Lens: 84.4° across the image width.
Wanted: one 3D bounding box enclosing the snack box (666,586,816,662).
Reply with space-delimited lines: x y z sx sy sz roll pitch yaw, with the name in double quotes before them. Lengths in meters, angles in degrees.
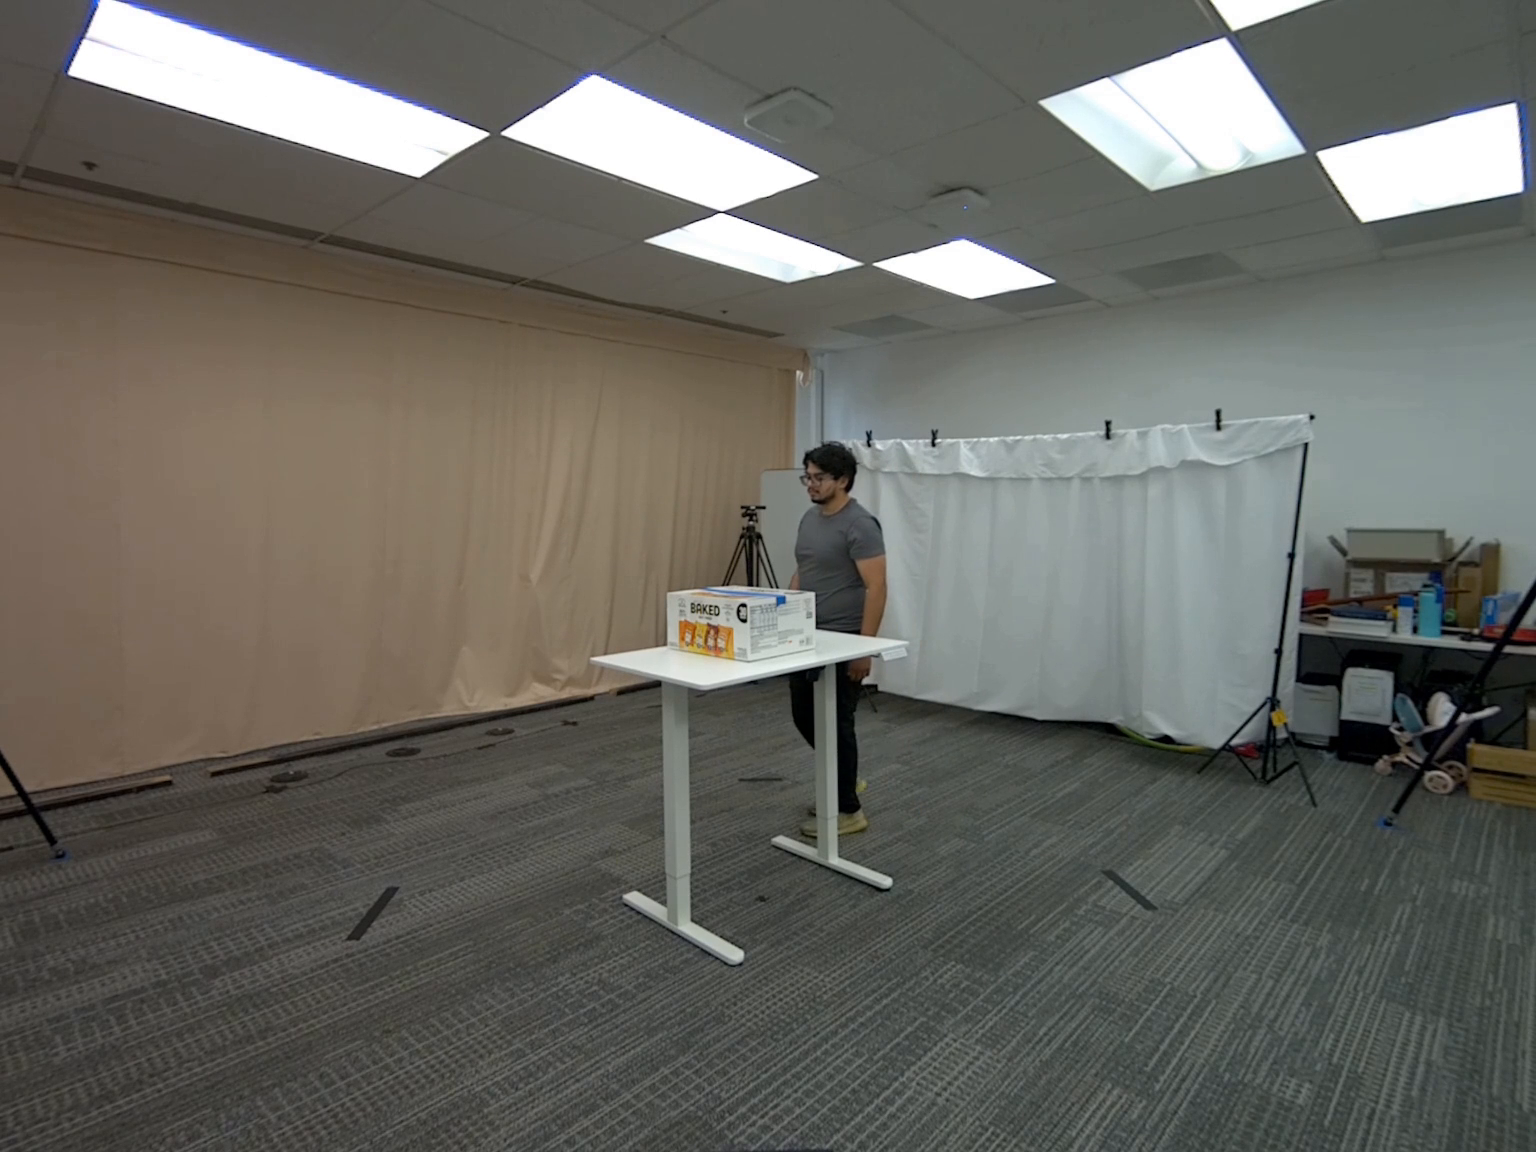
"snack box" -0.094 0.159 2.988 0.419 0.205 0.330 4 7 45
